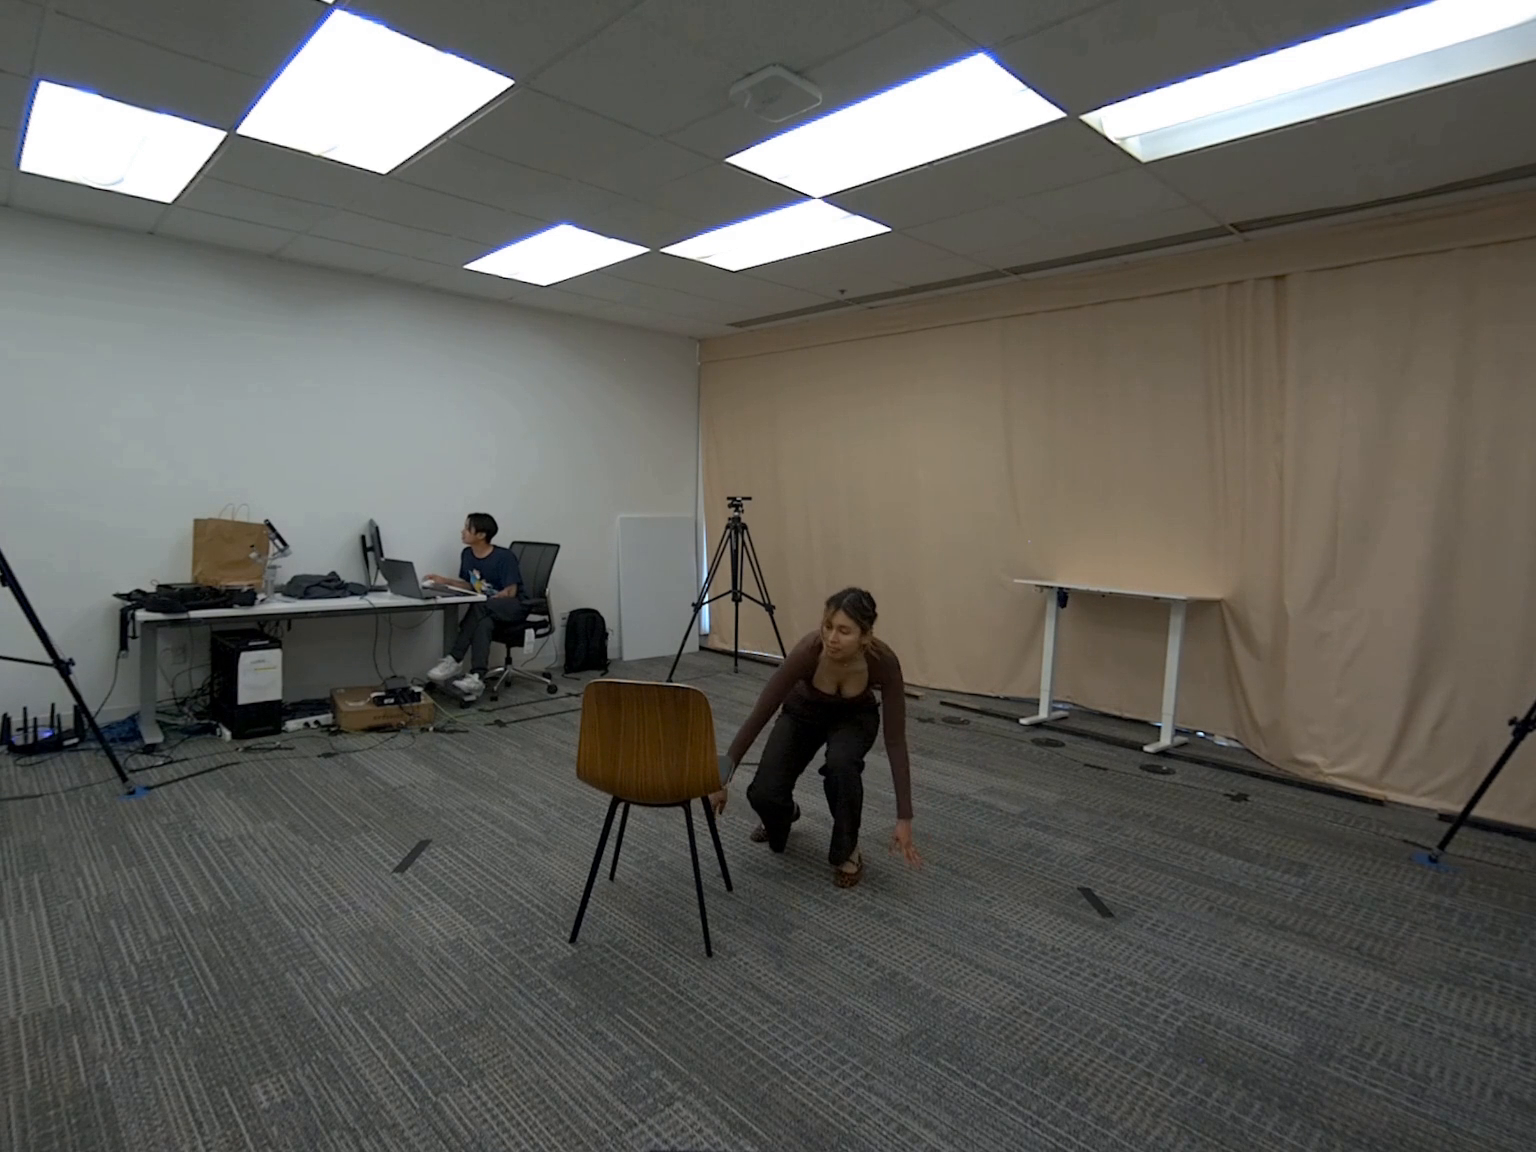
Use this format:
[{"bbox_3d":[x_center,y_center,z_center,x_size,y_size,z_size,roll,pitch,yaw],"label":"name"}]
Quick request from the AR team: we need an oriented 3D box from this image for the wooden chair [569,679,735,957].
[{"bbox_3d":[-0.368,0.704,2.775,0.481,0.873,0.523,1,7,7],"label":"wooden chair"}]
